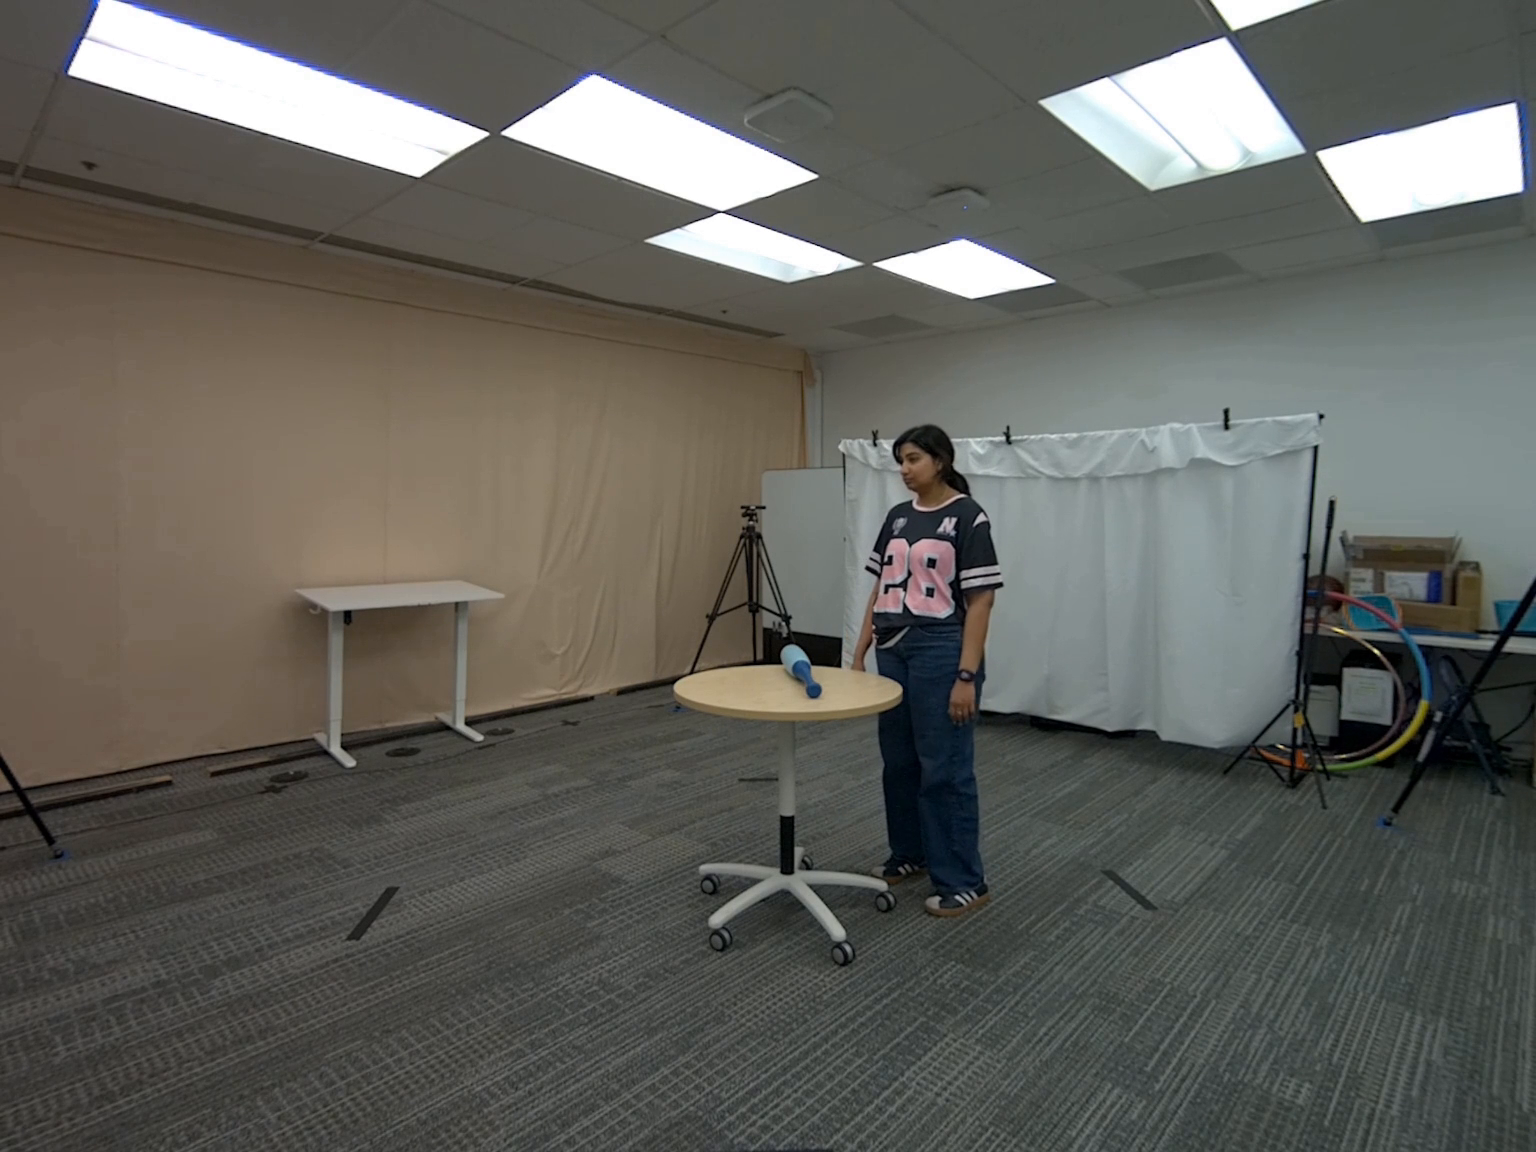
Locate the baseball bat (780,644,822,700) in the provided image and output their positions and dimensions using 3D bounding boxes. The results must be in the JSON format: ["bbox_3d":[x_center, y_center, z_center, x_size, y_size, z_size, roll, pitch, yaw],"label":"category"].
[{"bbox_3d":[0.125,0.333,2.900,0.088,0.089,0.548,-1,7,-7],"label":"baseball bat"}]
